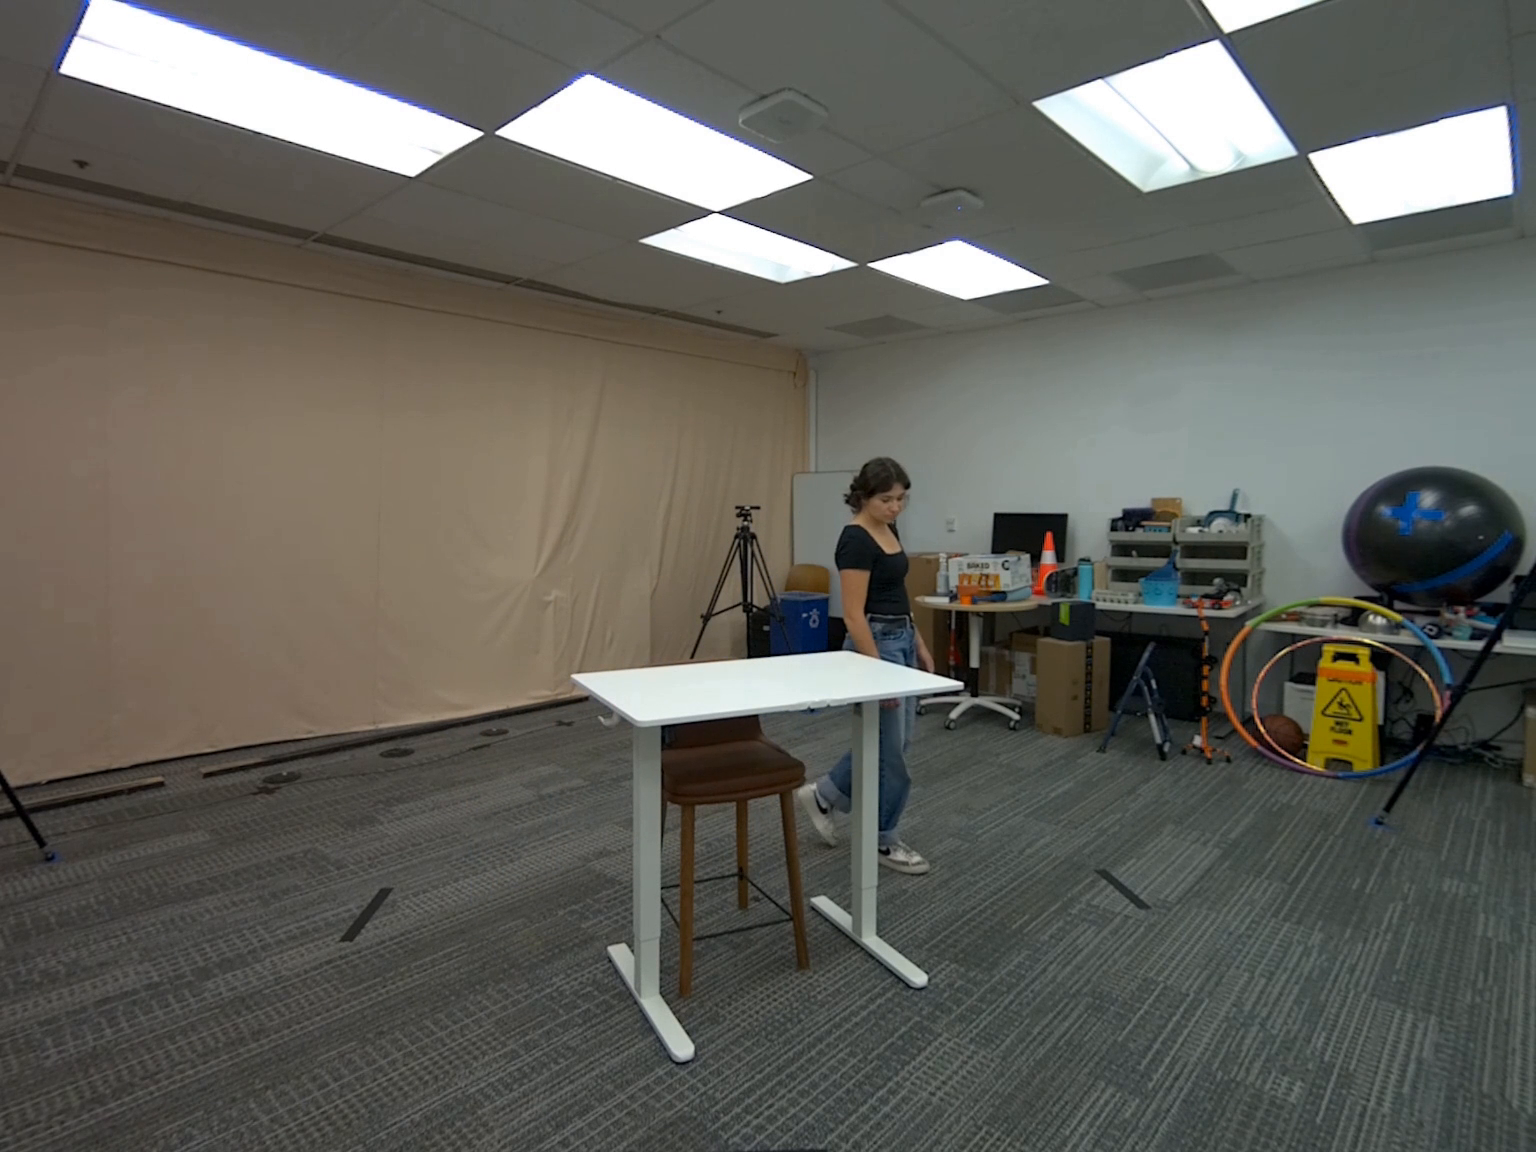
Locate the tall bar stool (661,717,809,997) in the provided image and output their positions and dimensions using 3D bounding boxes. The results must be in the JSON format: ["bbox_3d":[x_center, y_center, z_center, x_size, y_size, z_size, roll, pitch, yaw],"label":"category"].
[{"bbox_3d":[-0.157,0.744,2.644,0.446,0.889,0.478,-2,1,-24],"label":"tall bar stool"}]
